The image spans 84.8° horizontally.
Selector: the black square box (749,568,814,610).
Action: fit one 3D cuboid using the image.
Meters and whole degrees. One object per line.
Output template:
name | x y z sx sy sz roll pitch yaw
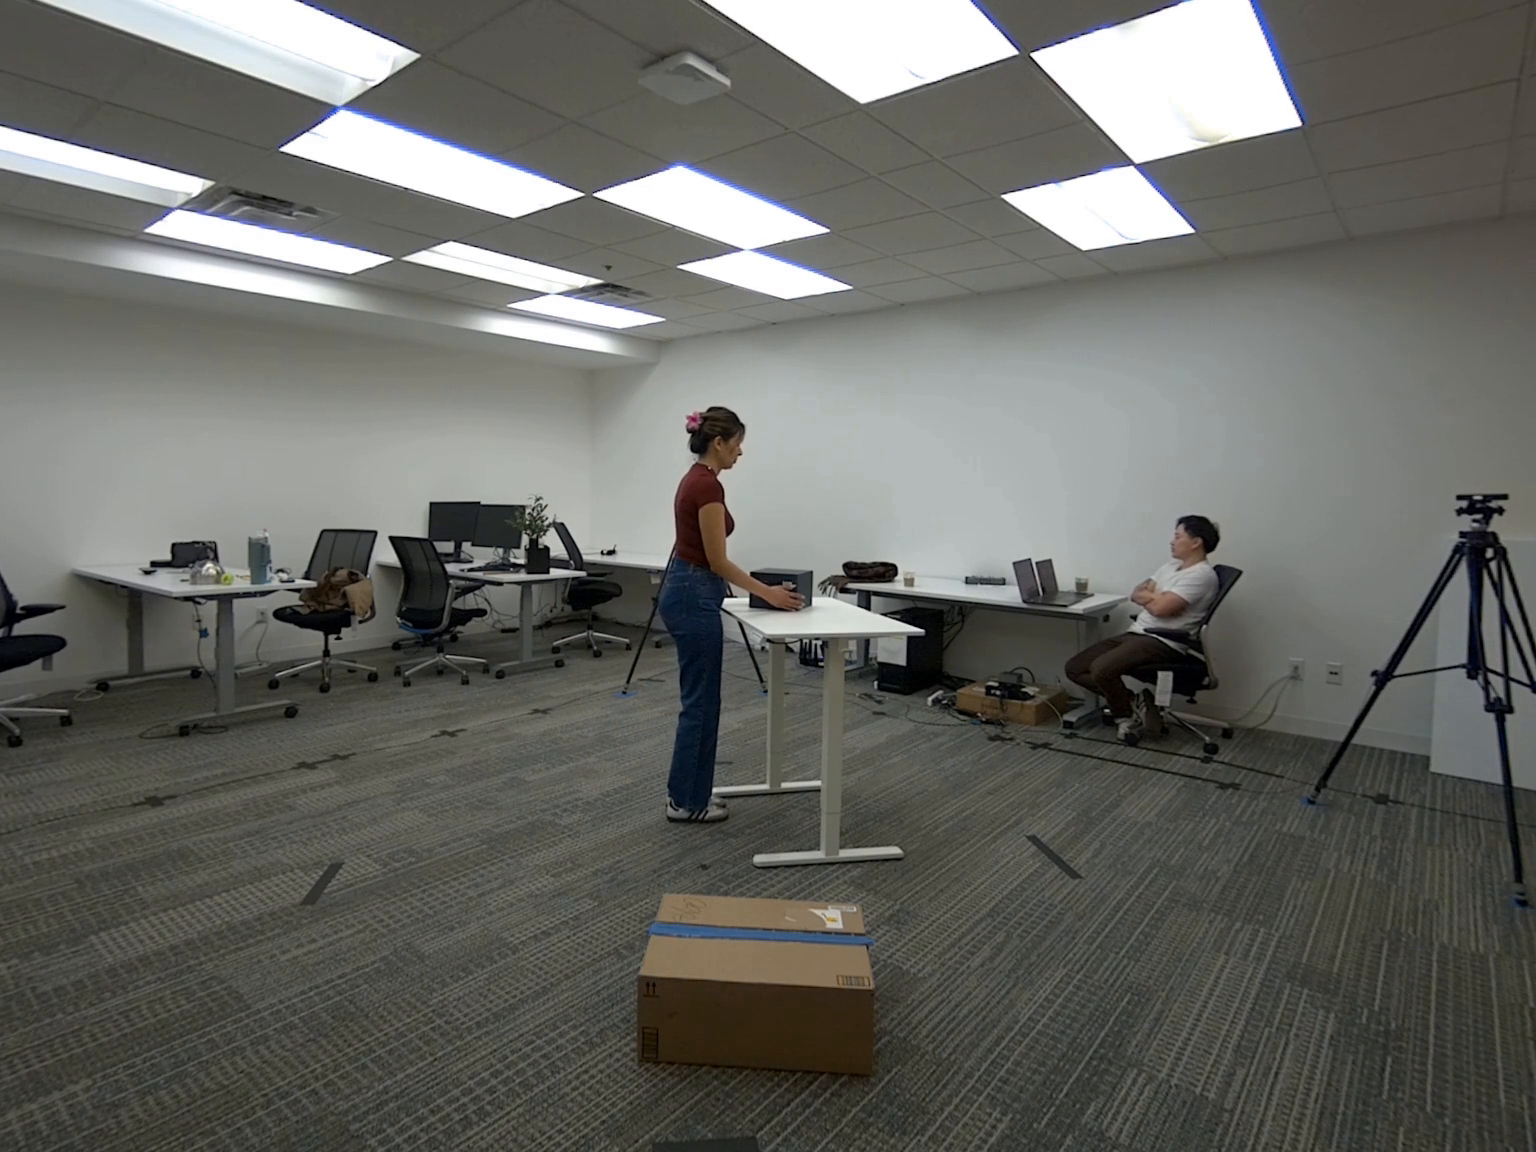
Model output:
black square box | 0.050 0.052 3.696 0.222 0.155 0.224 3 5 21
